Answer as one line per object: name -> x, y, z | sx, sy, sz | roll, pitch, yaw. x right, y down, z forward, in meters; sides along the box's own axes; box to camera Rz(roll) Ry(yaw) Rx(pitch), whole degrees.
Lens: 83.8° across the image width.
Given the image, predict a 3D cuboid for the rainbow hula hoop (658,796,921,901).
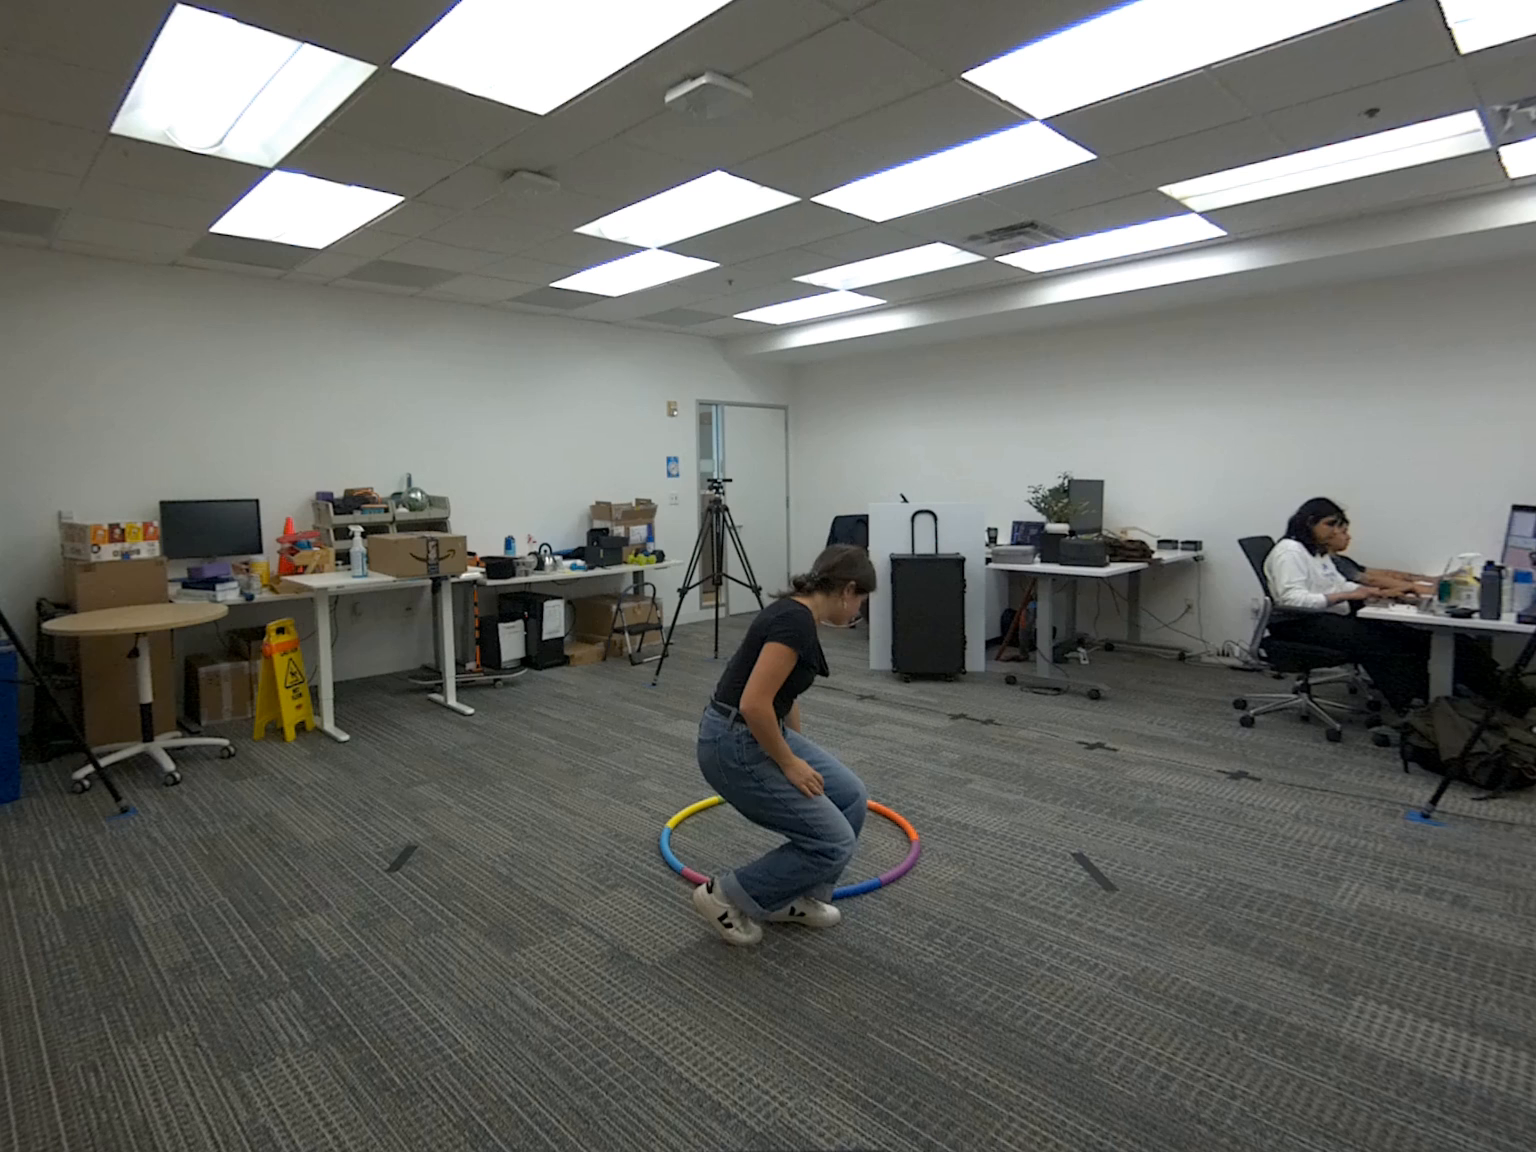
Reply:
rainbow hula hoop -> 0.073, 0.993, 3.295 | 0.978, 0.035, 0.984 | -1, 7, -2
